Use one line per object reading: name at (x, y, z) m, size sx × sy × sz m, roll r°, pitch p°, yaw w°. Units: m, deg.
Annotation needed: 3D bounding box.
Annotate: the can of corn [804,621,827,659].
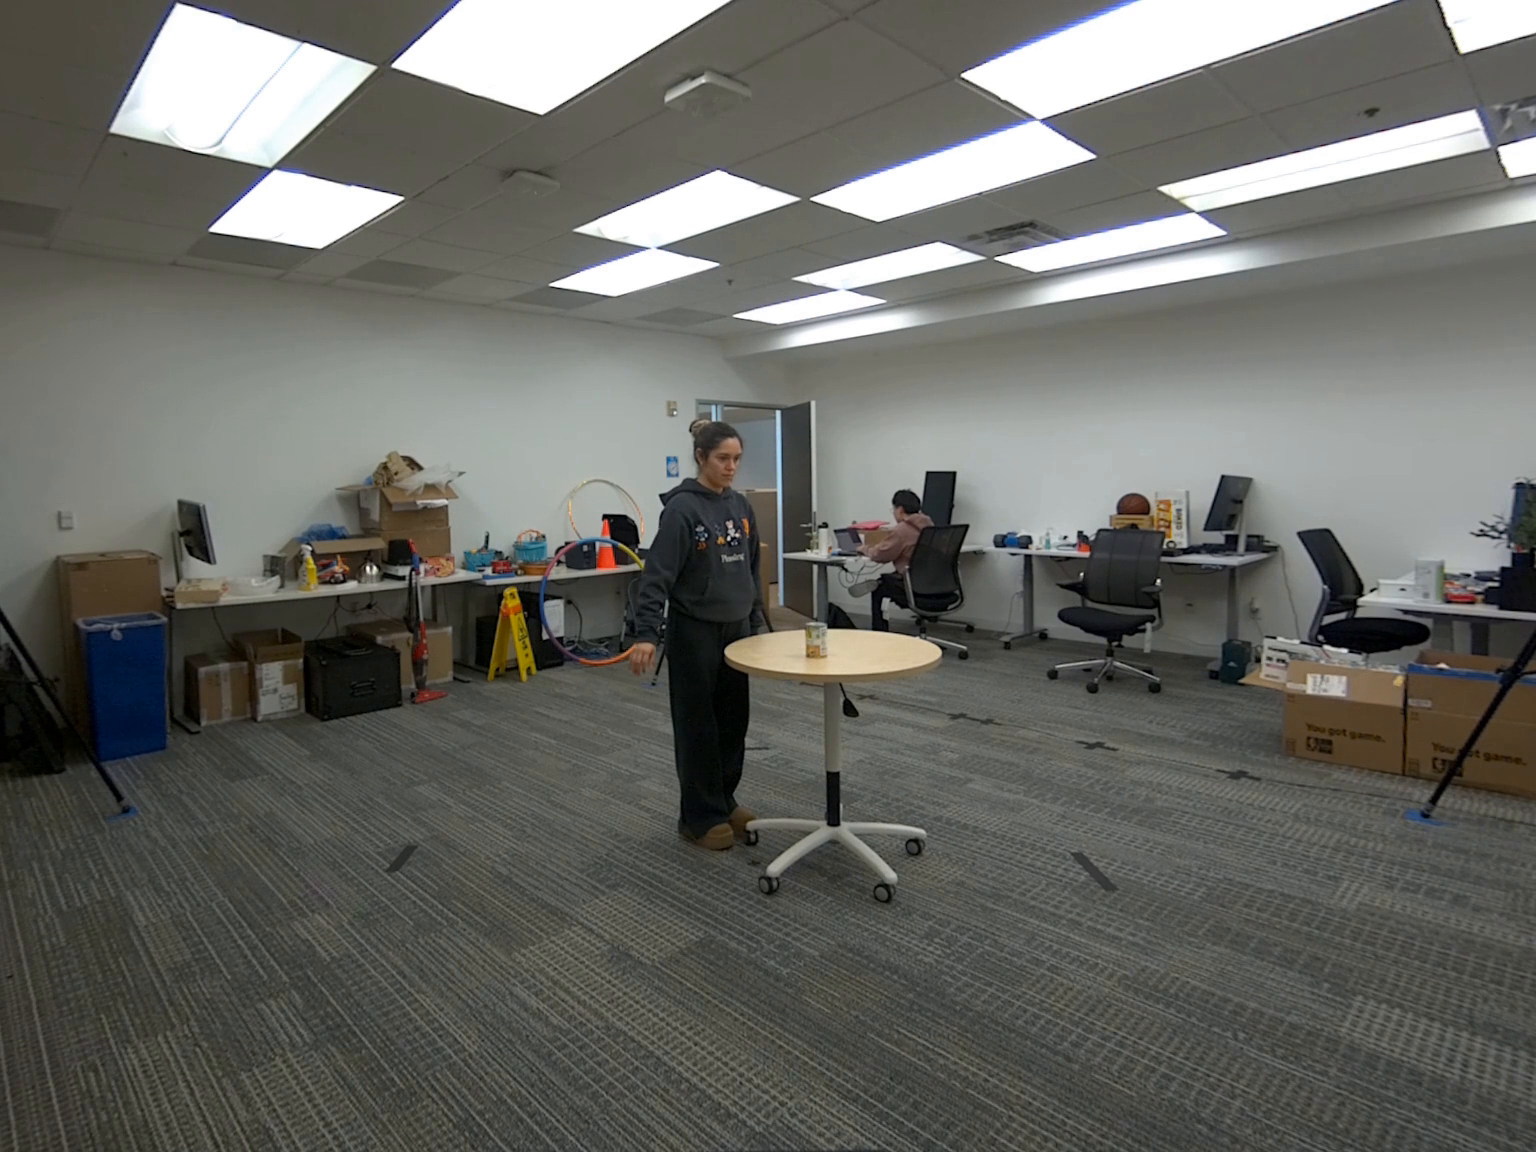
can of corn at (0.168, 0.220, 2.933) m, size 0.074 × 0.110 × 0.074 m, roll -1°, pitch 5°, yaw -2°
